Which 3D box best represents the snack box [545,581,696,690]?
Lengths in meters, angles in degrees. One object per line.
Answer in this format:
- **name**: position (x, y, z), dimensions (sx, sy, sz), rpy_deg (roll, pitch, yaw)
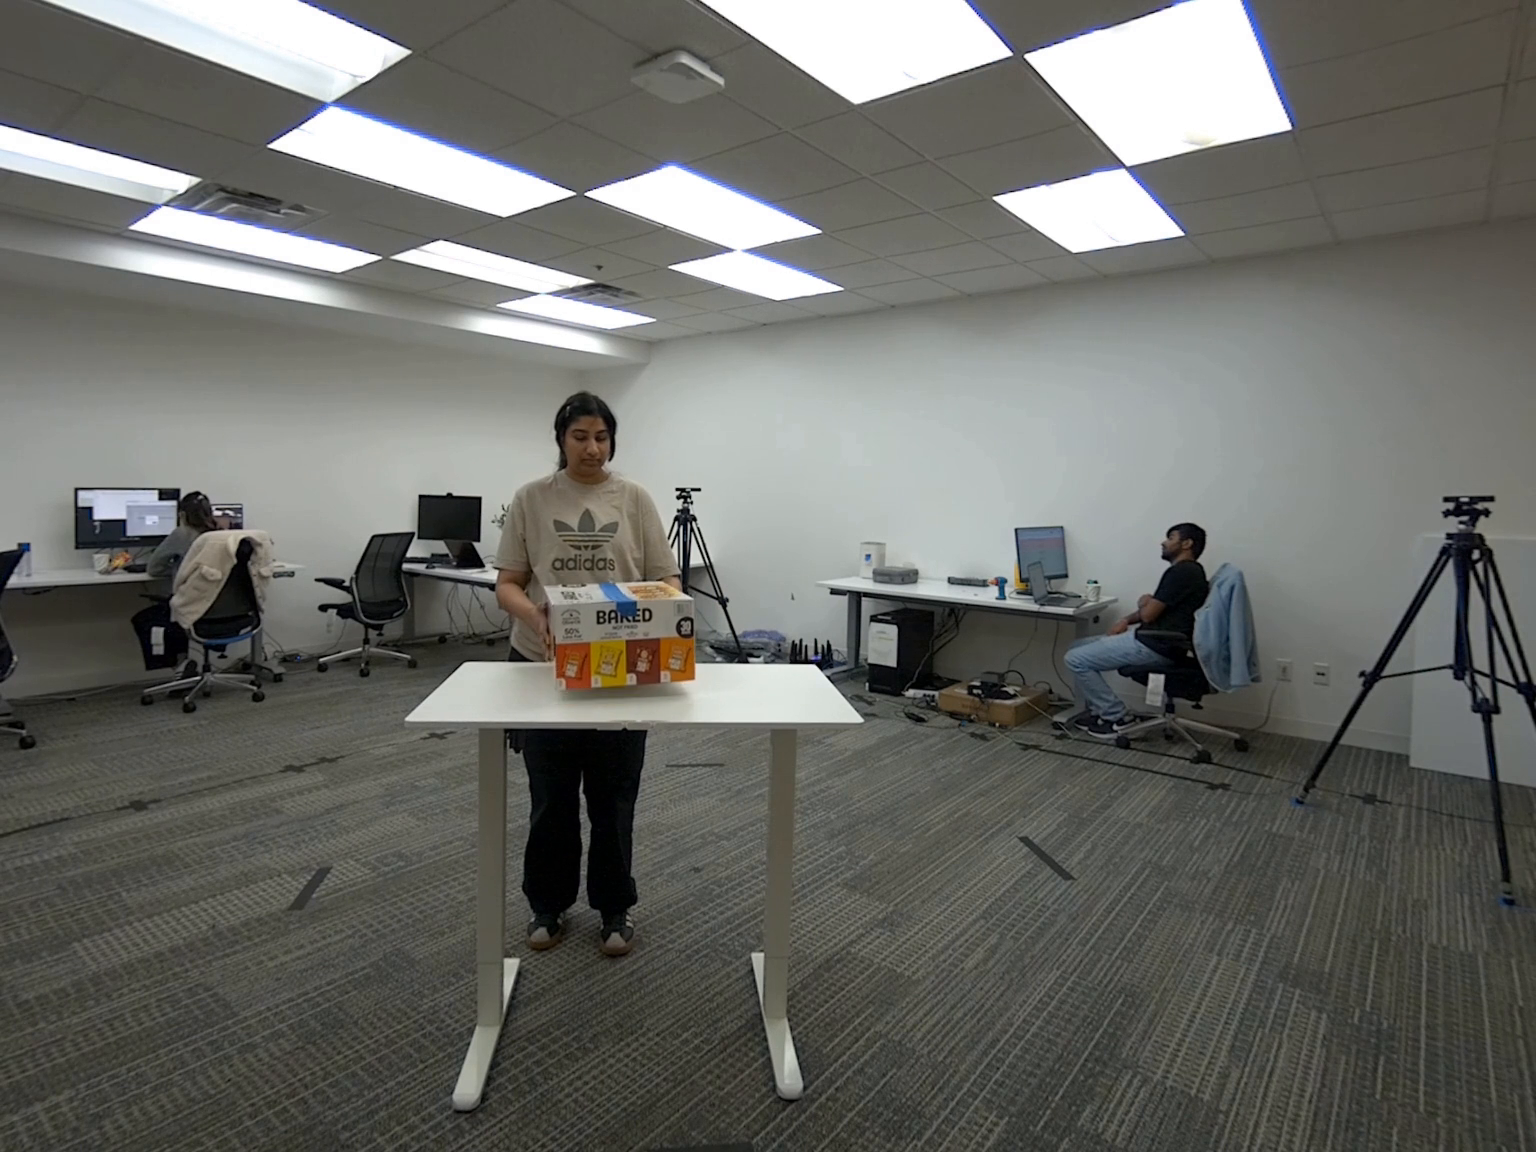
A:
- **snack box**: position (-0.410, 0.131, 2.219), dimensions (0.335, 0.205, 0.413), rpy_deg (-2, 5, -17)
